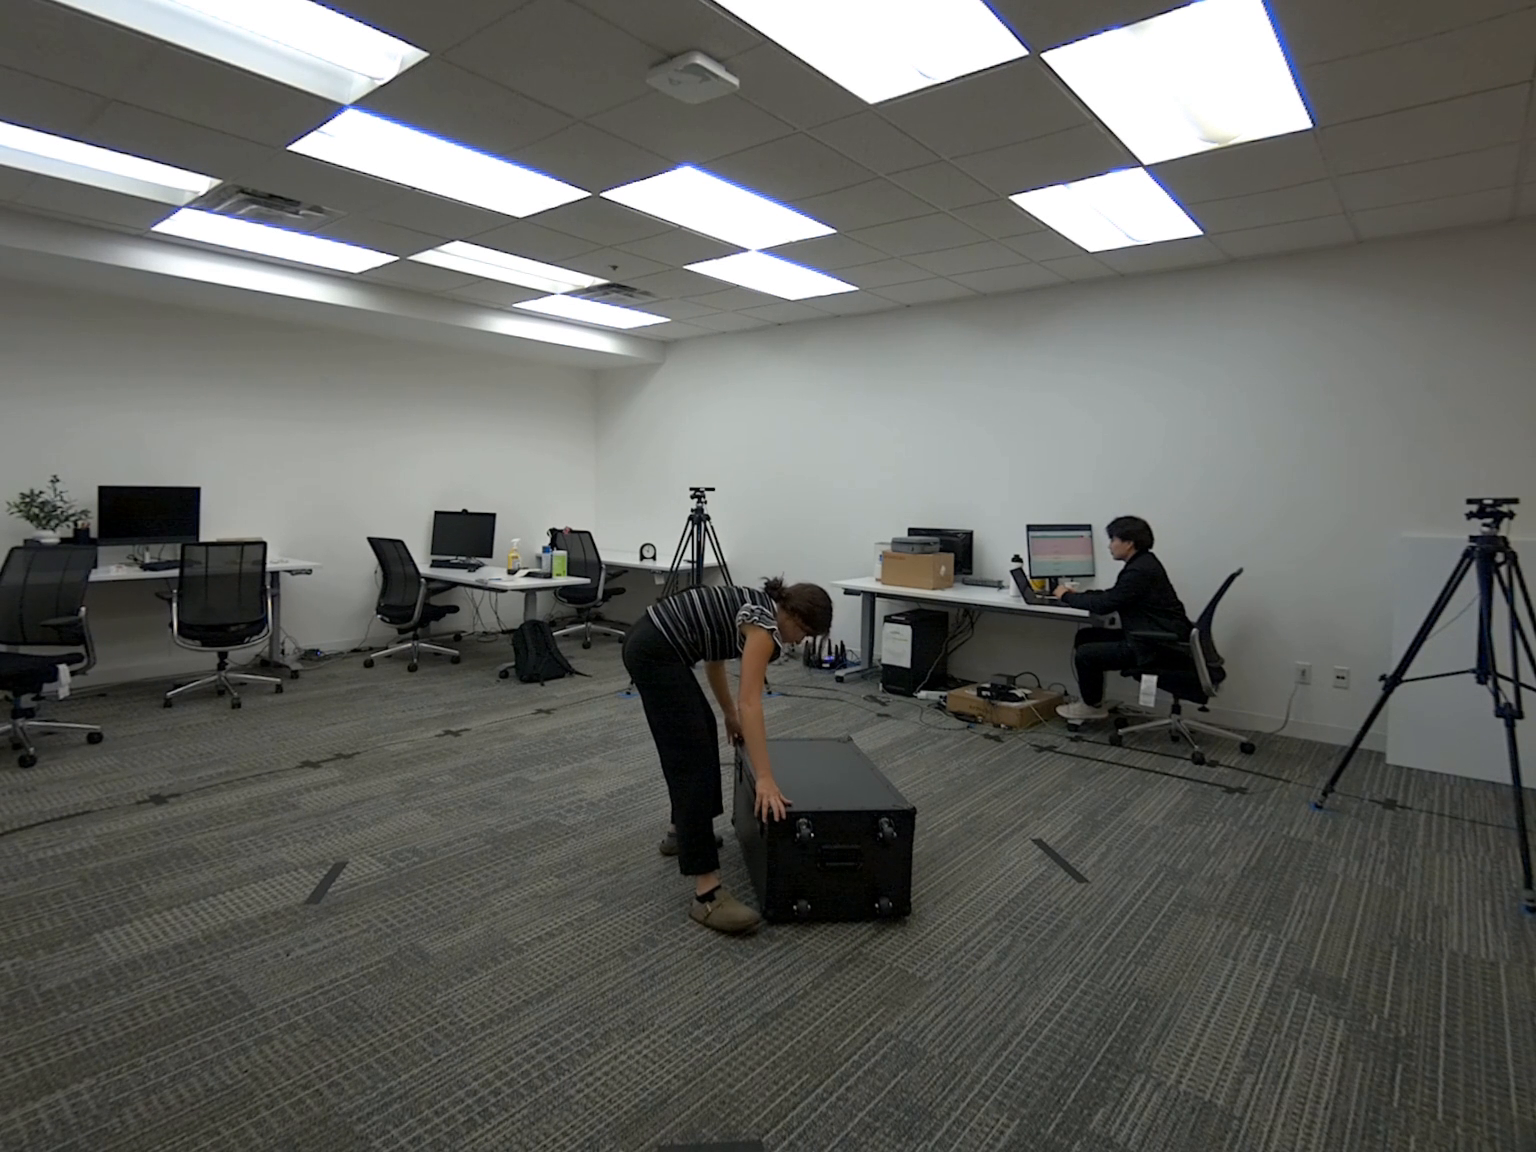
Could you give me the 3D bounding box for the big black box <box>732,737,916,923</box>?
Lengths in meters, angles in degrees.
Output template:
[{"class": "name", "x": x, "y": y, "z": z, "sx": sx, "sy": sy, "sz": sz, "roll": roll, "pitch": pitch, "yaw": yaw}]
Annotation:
[{"class": "big black box", "x": 0.163, "y": 0.888, "z": 3.066, "sx": 0.516, "sy": 0.395, "sz": 0.873, "roll": 2, "pitch": 5, "yaw": -10}]
